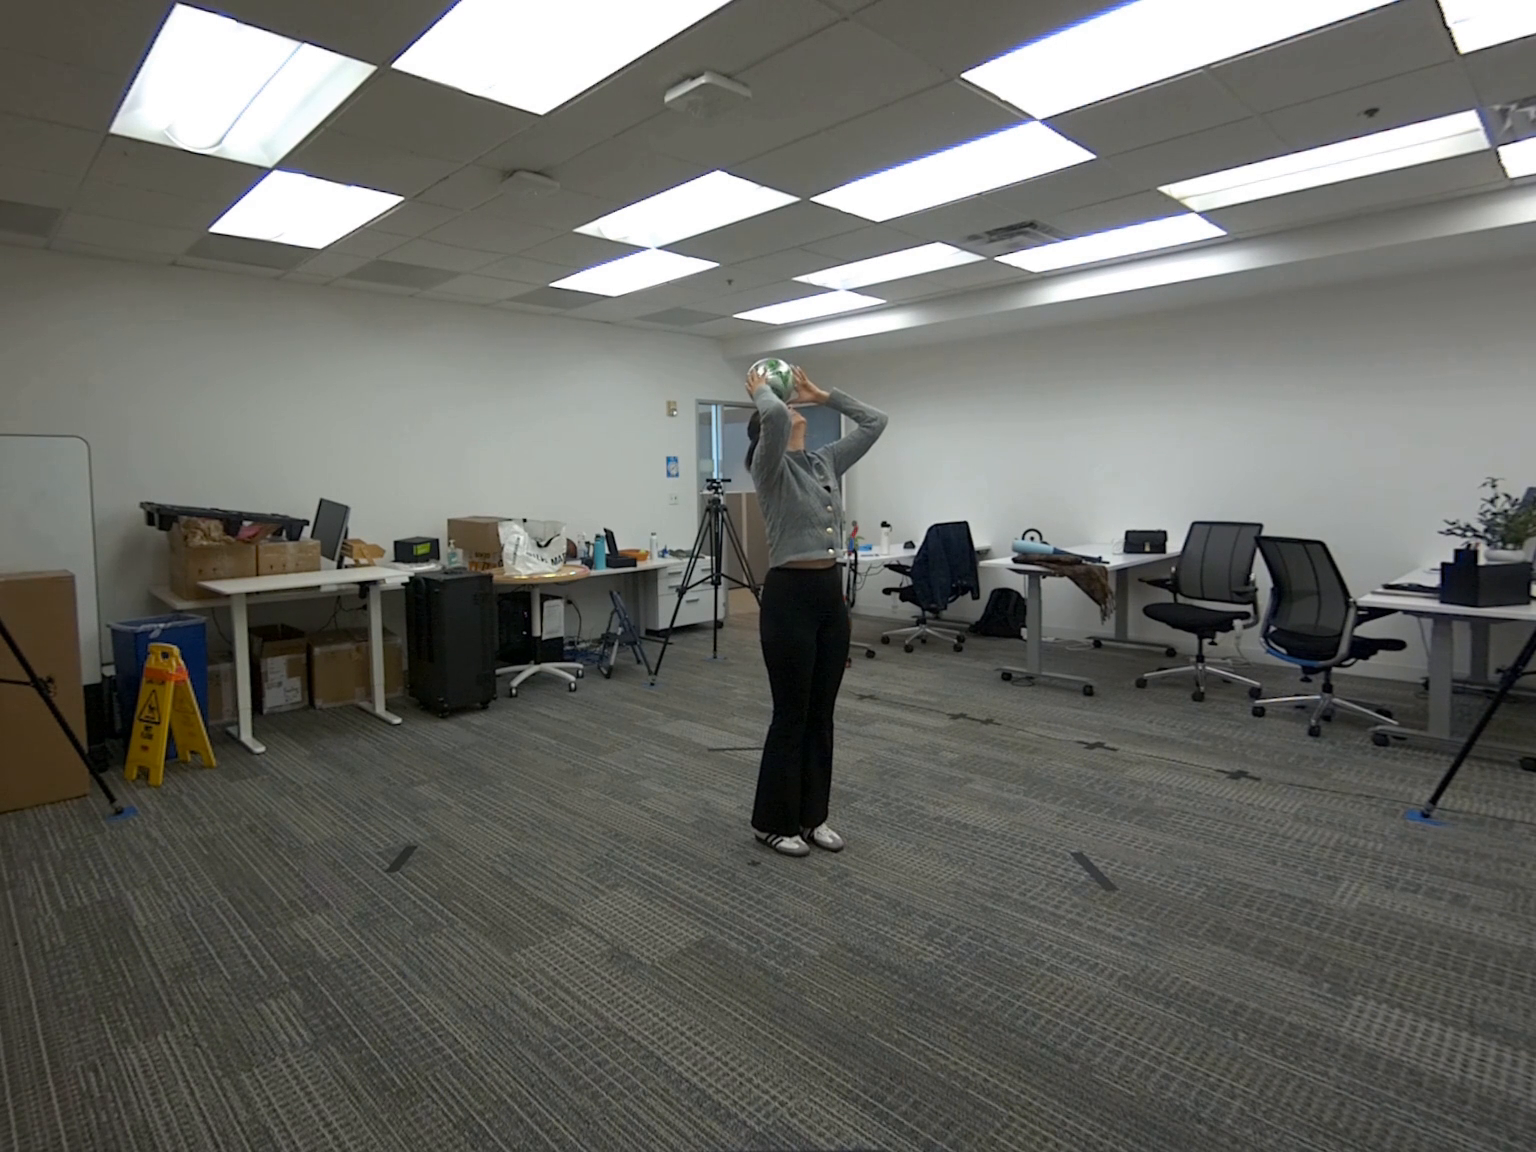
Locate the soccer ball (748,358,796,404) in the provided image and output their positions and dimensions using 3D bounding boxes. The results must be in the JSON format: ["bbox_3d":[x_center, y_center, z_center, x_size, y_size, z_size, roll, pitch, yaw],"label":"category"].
[{"bbox_3d":[0.012,-0.737,3.255,0.187,0.187,0.188,-1,5,-2],"label":"soccer ball"}]
